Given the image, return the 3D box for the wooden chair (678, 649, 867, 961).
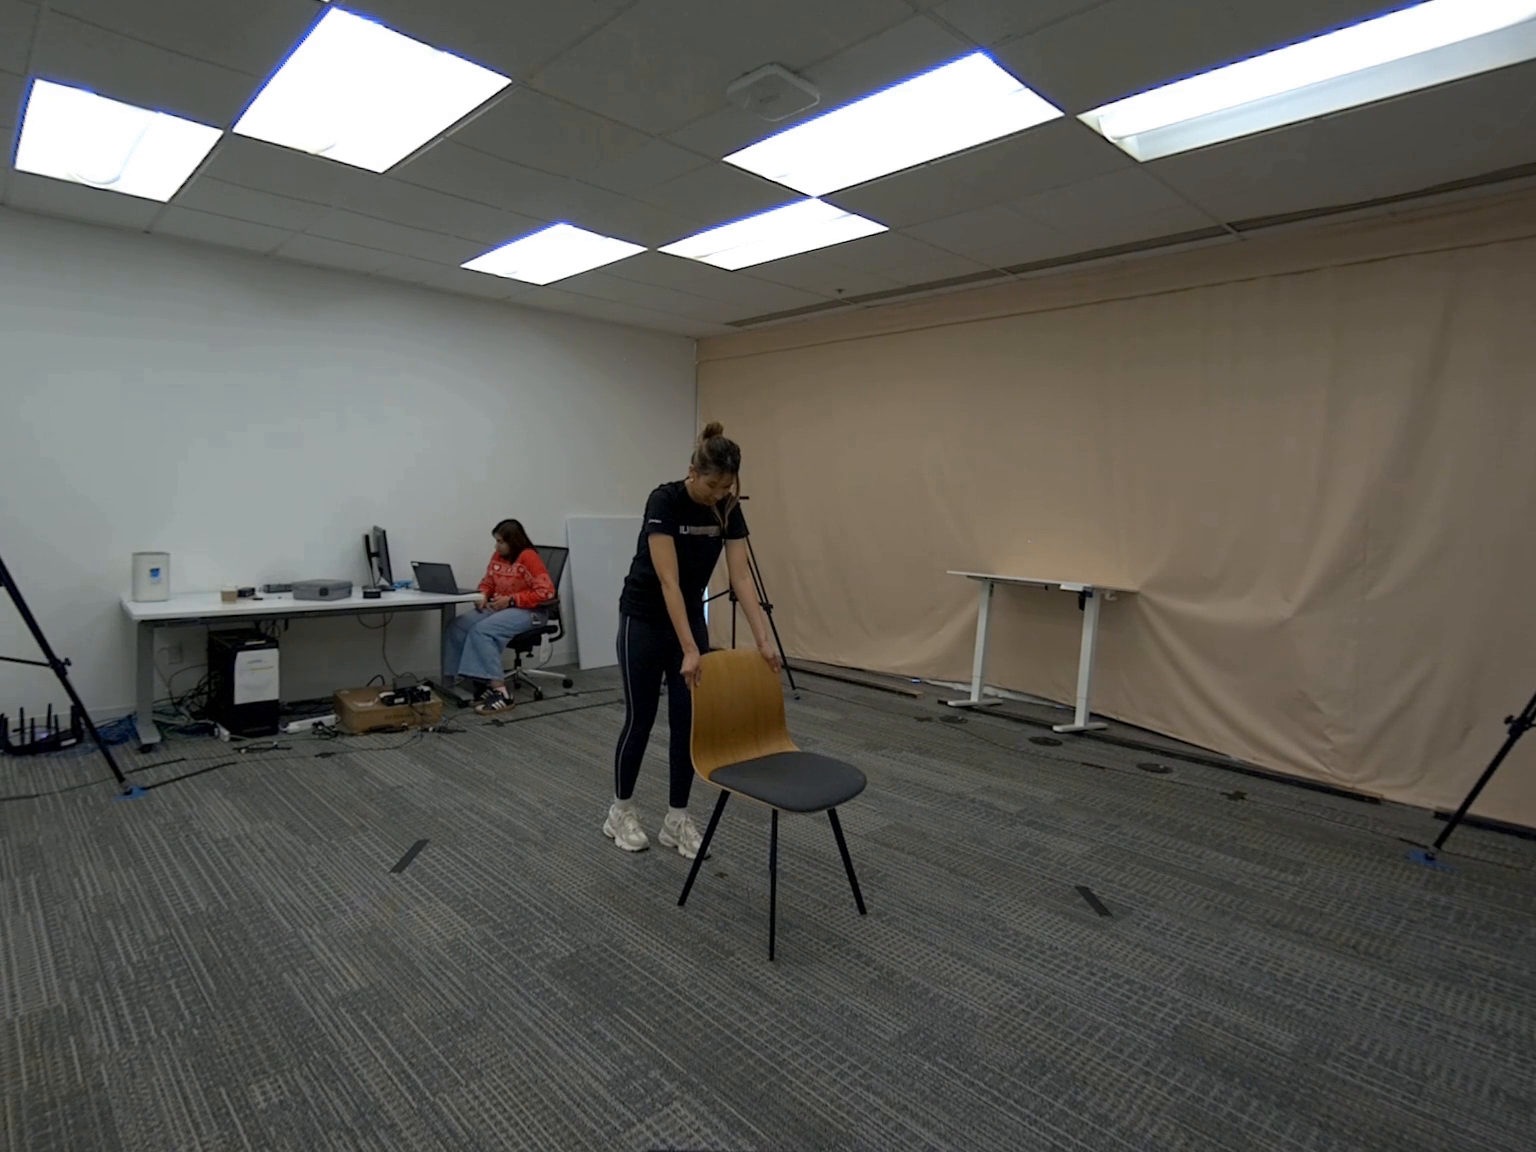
[{"bbox_3d":[0.025,0.708,2.809,0.467,0.877,0.535,-2,0,-44],"label":"wooden chair"}]
